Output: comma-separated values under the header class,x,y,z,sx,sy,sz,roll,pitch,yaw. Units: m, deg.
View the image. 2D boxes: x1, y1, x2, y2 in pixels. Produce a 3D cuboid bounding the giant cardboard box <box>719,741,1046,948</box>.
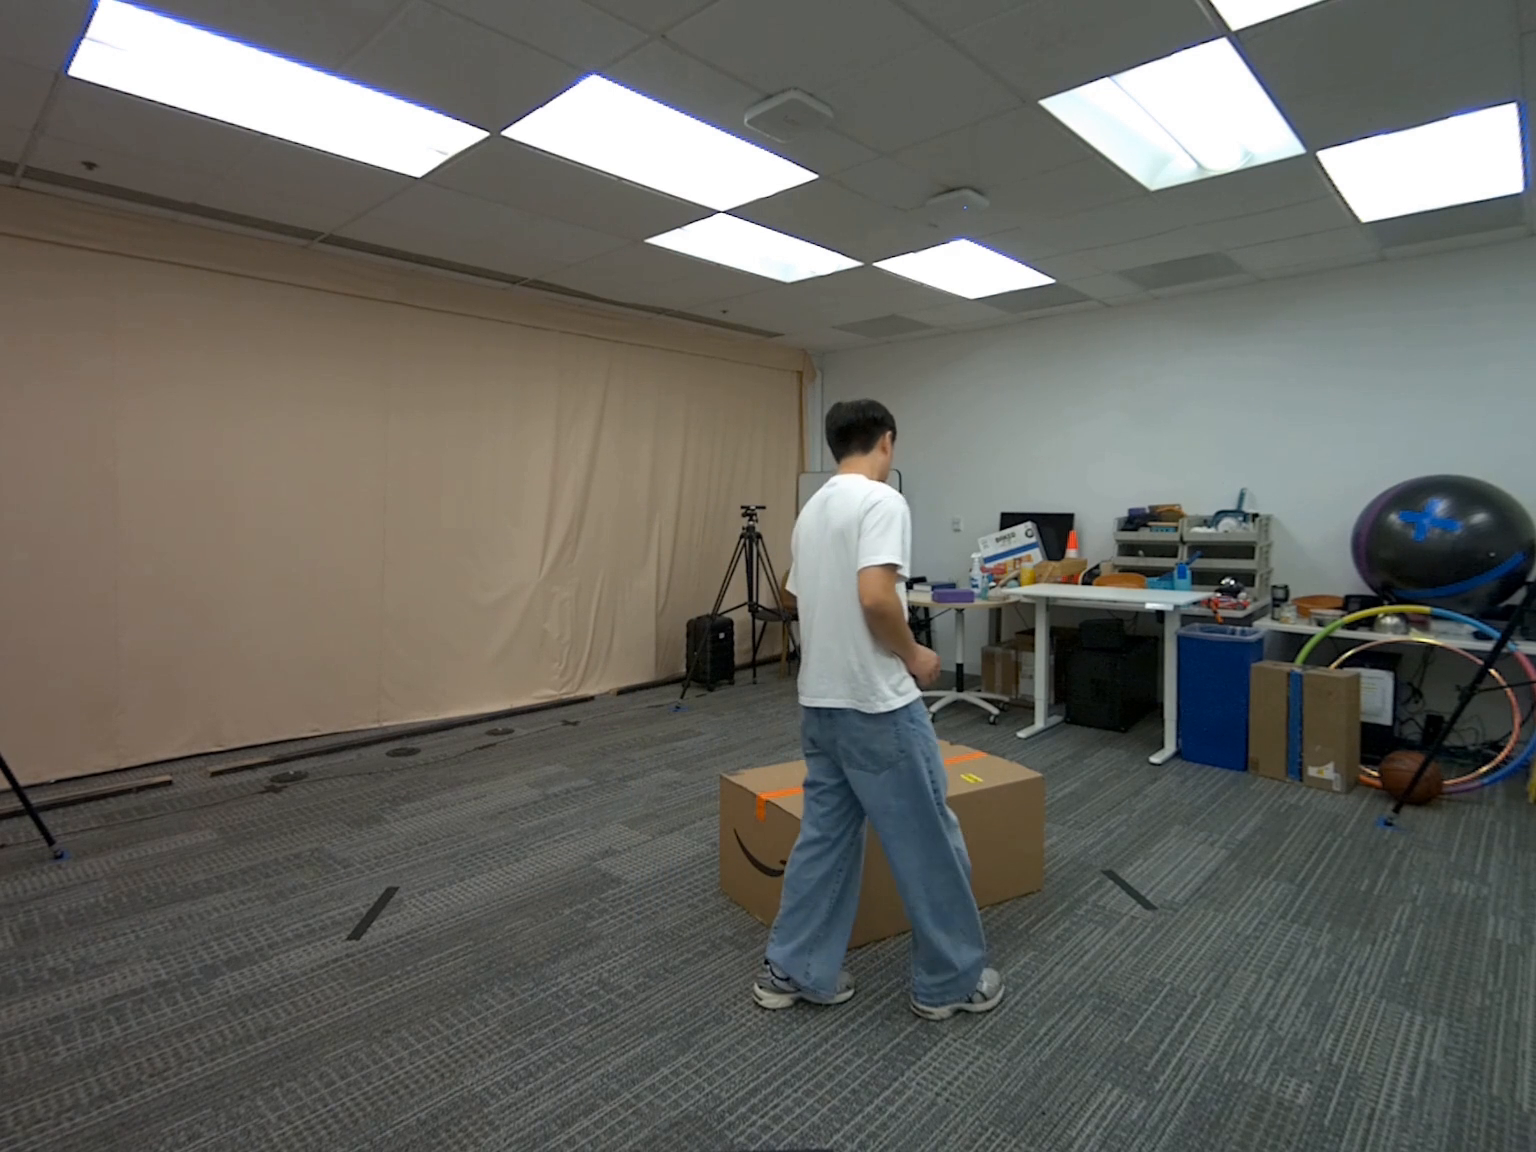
class,x,y,z,sx,sy,sz,roll,pitch,yaw
giant cardboard box,0.412,0.925,3.045,0.999,0.425,0.594,-3,5,-30
